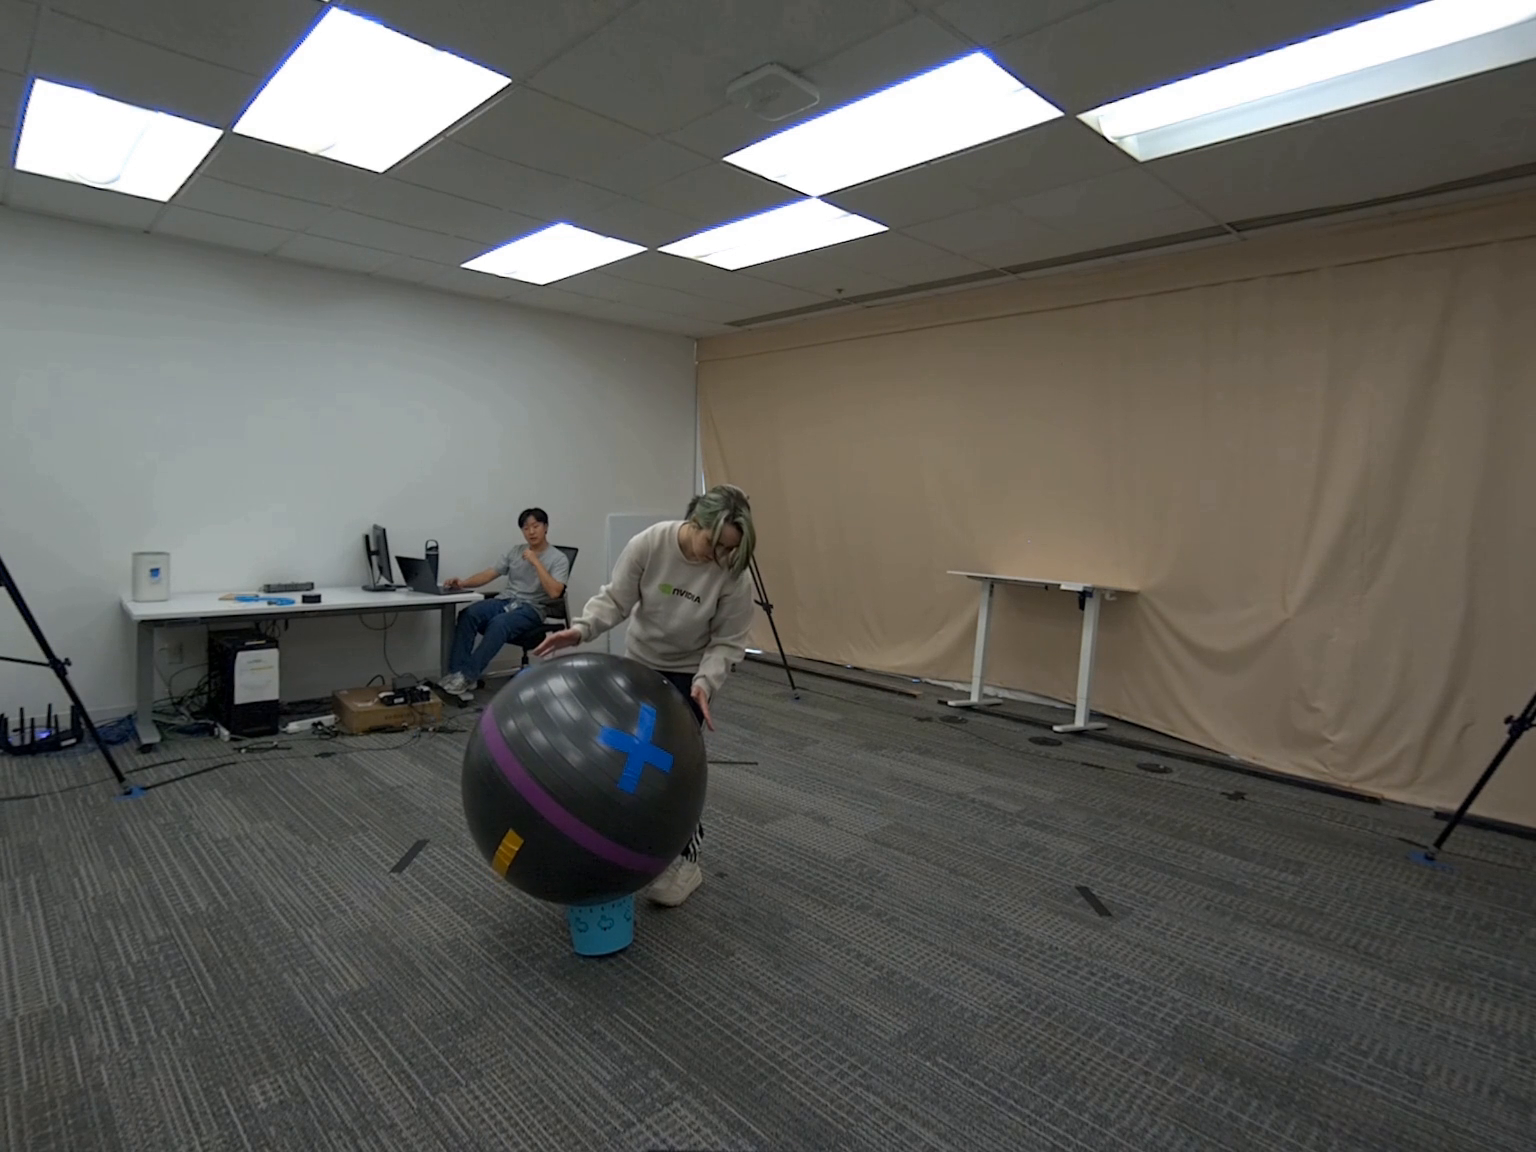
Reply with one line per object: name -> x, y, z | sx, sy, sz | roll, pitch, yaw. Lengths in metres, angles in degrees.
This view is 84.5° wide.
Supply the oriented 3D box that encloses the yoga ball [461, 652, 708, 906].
yoga ball -> -0.570, 0.628, 2.619 | 0.757, 0.756, 0.761 | 1, 4, -1
